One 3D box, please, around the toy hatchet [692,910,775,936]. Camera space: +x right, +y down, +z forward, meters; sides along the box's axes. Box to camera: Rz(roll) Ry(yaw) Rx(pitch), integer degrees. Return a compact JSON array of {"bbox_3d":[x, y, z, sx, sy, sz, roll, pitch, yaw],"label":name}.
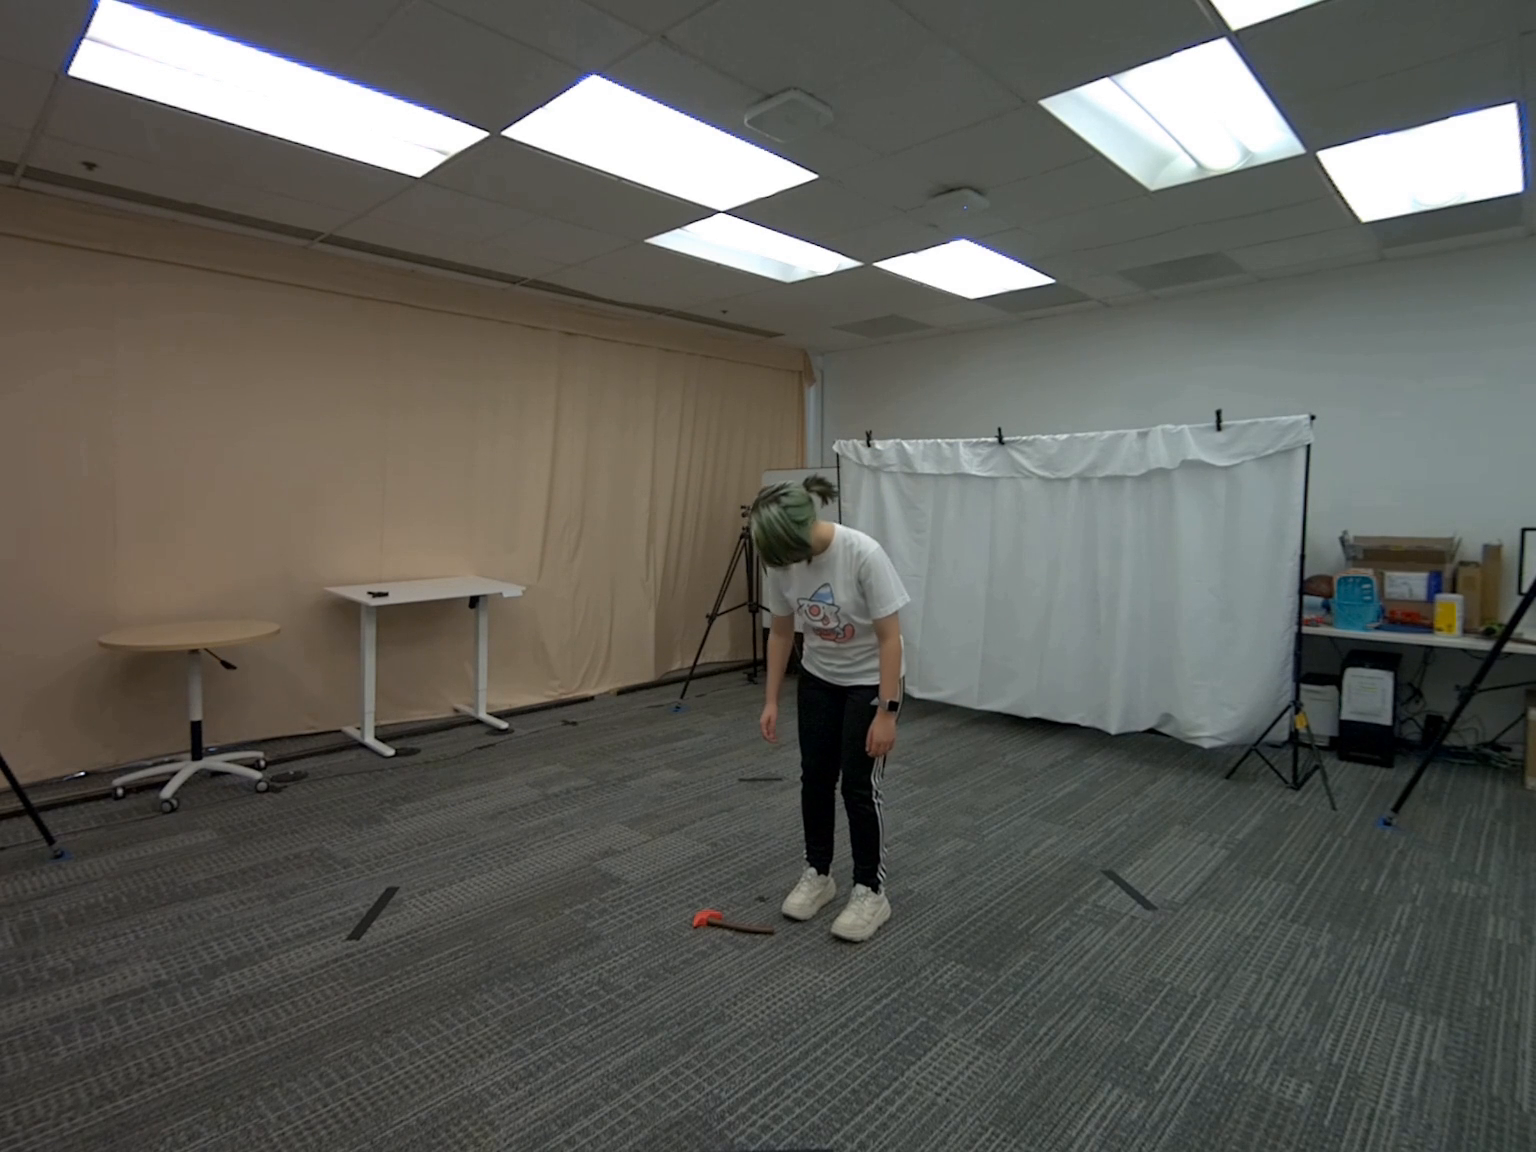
[{"bbox_3d":[-0.108,1.157,2.806,0.272,0.029,0.130,3,1,5],"label":"toy hatchet"}]
